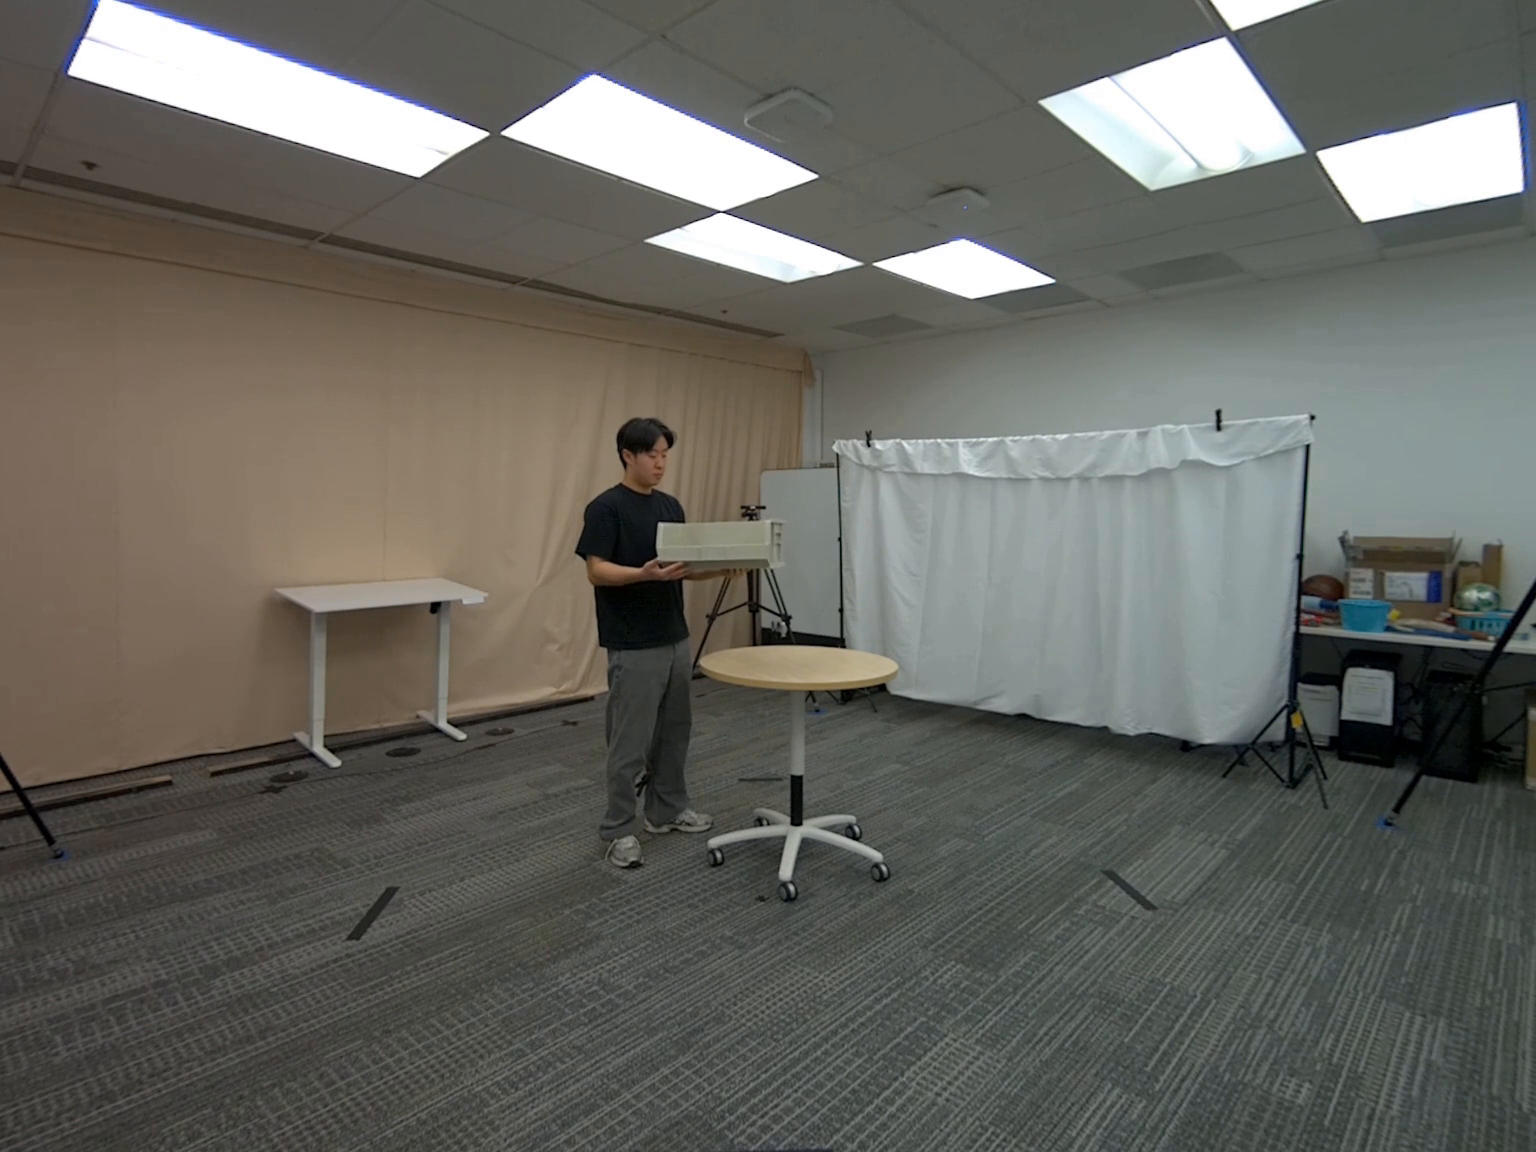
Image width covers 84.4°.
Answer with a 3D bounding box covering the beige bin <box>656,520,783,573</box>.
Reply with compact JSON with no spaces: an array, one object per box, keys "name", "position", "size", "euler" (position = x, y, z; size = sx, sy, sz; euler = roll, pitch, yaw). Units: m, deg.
[{"name":"beige bin","position":[-0.172,-0.112,3.176],"size":[0.429,0.189,0.371],"euler":[-2,0,14]}]
